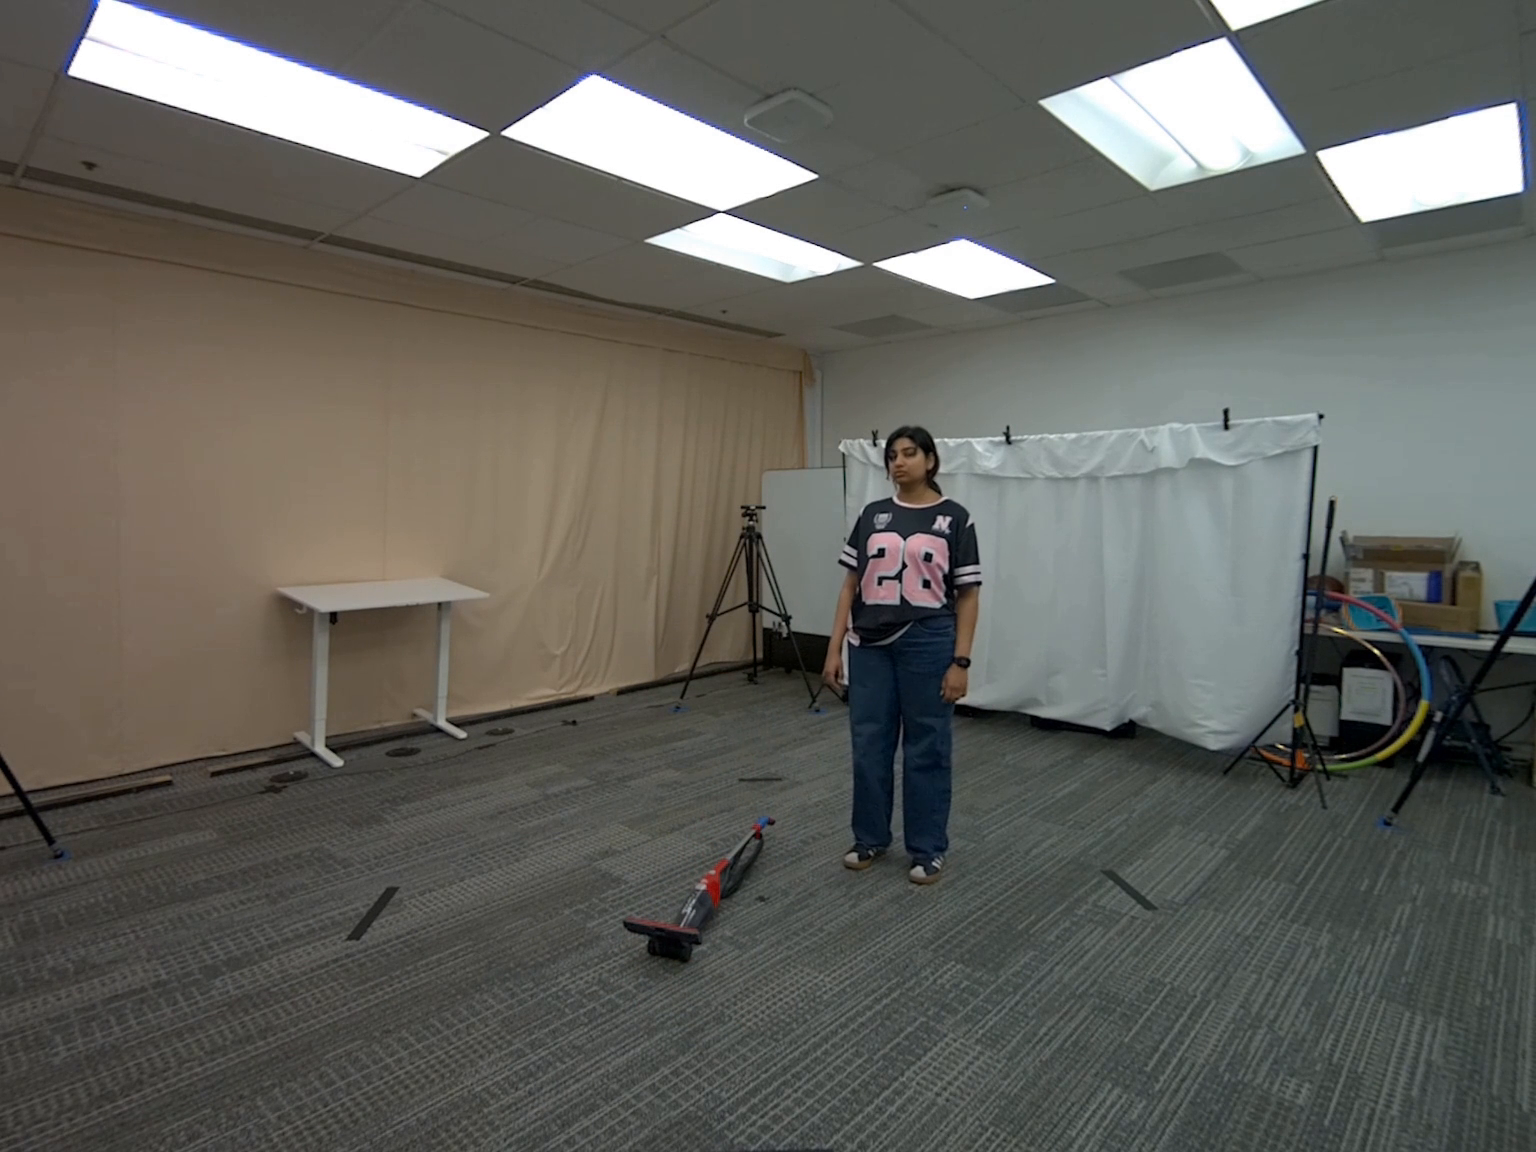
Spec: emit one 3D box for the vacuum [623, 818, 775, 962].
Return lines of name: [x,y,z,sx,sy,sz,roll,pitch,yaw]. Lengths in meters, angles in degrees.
vacuum: [-0.145,1.076,3.044,0.258,0.143,1.029,1,4,19]
